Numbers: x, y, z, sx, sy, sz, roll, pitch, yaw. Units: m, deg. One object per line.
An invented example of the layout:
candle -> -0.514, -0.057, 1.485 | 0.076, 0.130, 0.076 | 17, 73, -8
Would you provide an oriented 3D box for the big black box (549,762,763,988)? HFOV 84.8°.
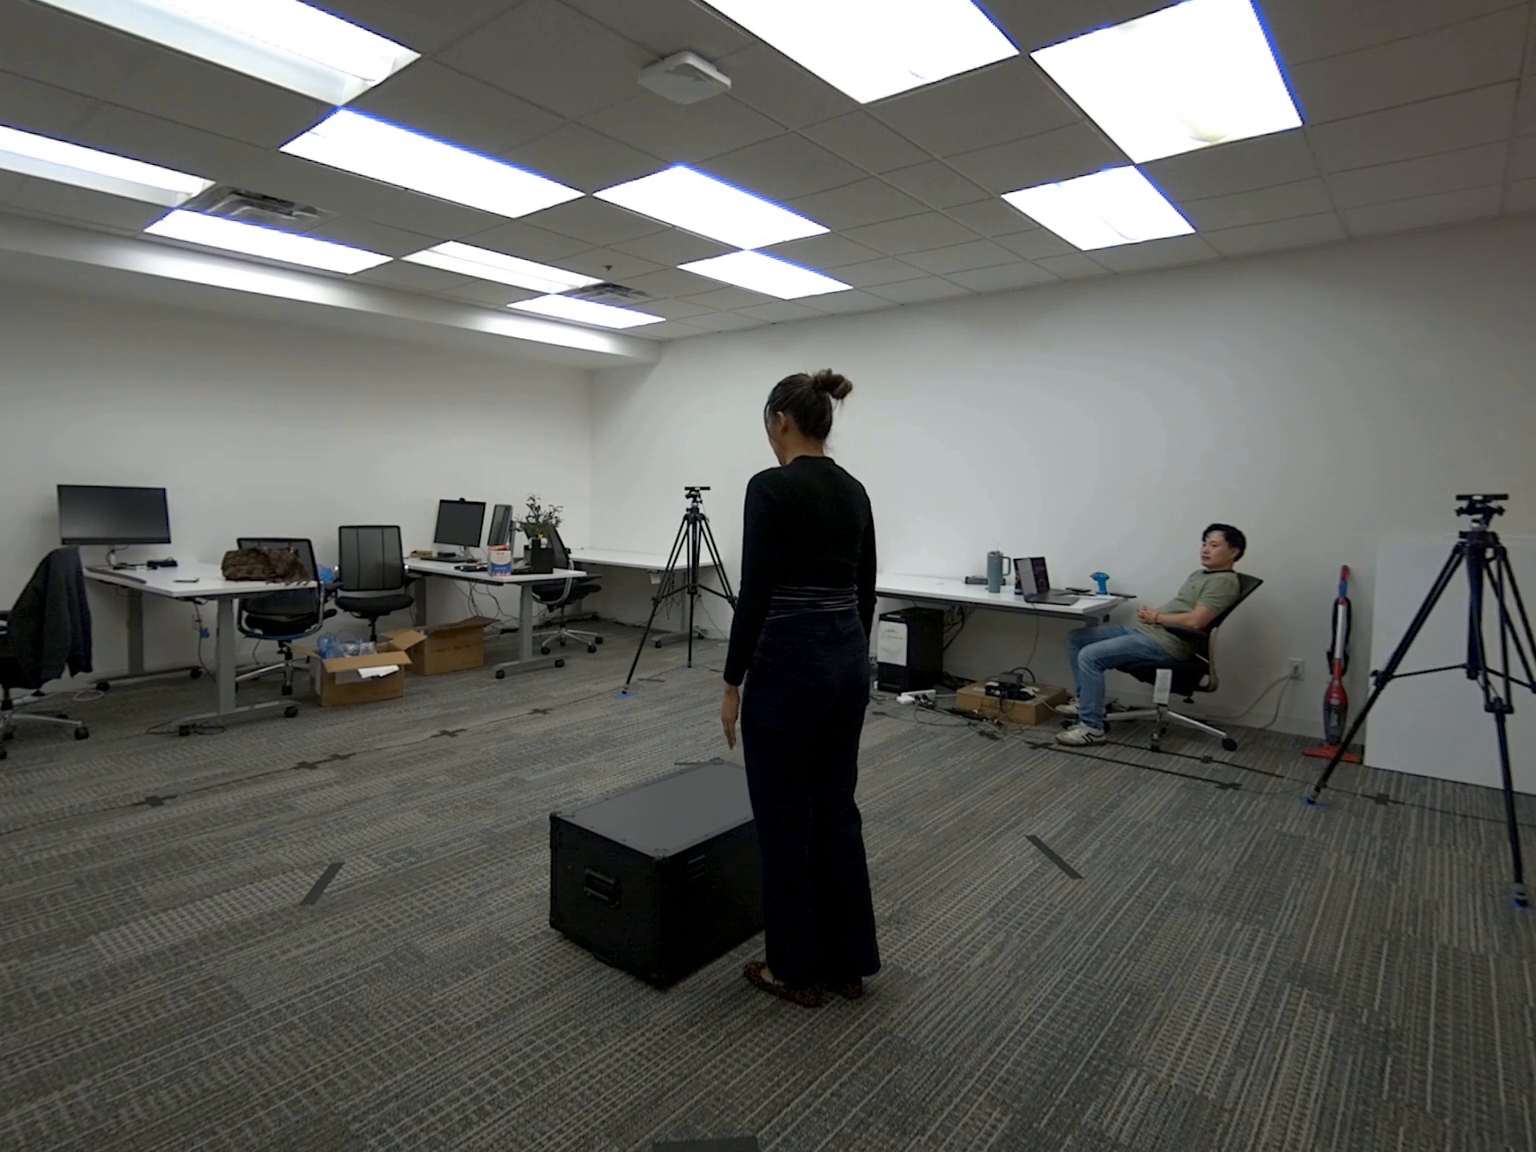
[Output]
big black box -> -0.279, 0.911, 2.738 | 0.539, 0.395, 0.836 | 5, 6, 39
